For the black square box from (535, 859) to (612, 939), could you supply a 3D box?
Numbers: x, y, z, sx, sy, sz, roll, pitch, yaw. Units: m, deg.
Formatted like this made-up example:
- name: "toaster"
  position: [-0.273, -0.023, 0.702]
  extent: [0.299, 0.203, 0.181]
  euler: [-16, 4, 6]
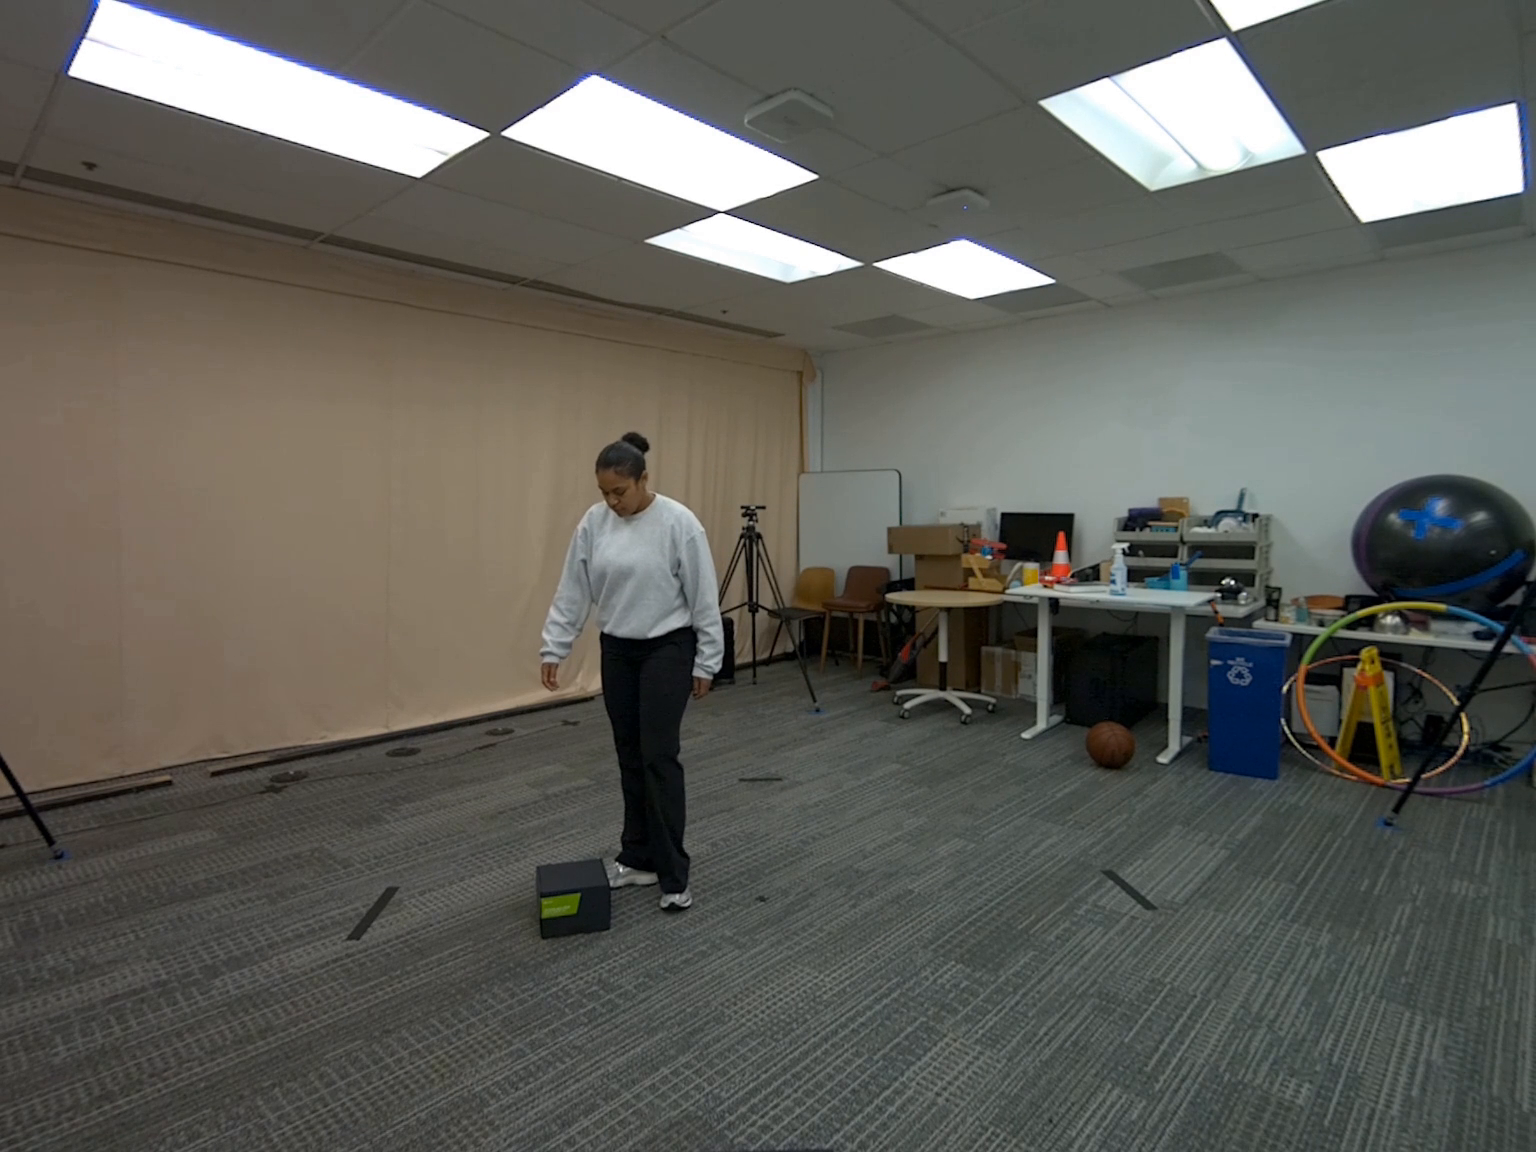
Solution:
- name: "black square box"
  position: [-0.658, 1.076, 2.831]
  extent: [0.224, 0.155, 0.221]
  euler: [-1, 5, -18]
